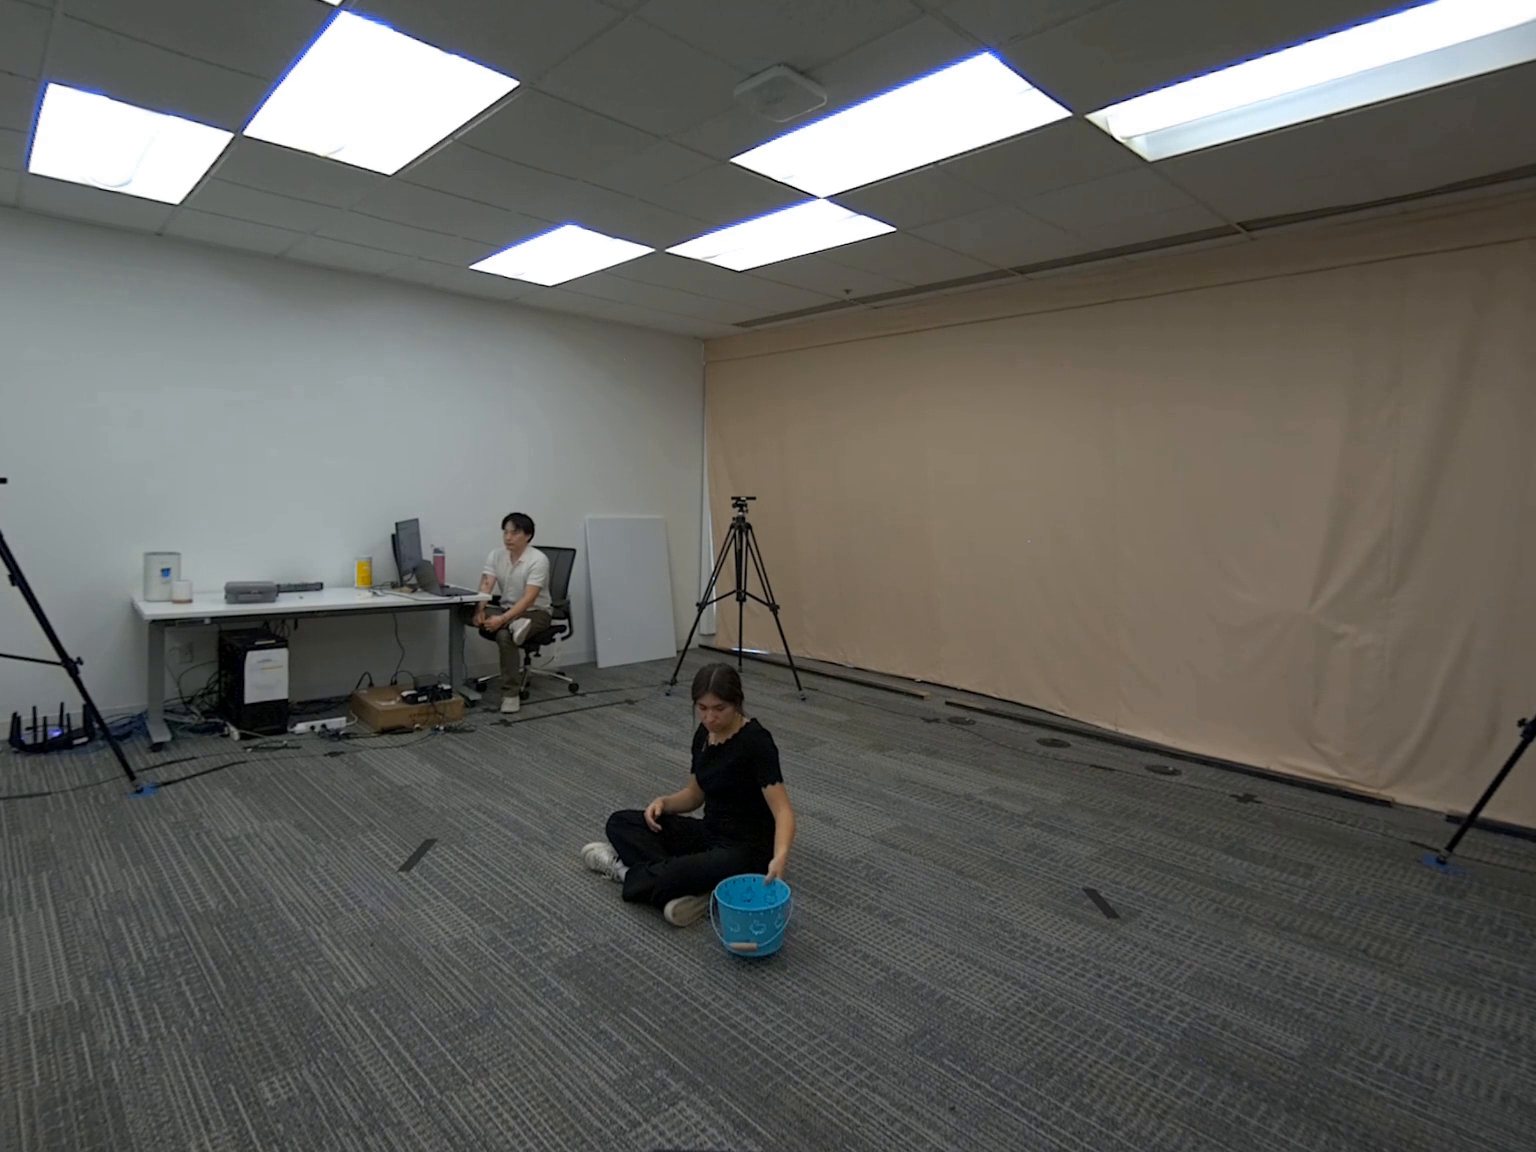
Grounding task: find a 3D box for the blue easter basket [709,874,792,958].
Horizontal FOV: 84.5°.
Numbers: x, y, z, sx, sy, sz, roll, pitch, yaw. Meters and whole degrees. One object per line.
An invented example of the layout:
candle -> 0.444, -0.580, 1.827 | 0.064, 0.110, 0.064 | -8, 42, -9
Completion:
blue easter basket -> -0.073, 1.021, 2.544 | 0.243, 0.155, 0.244 | 1, 3, -1
